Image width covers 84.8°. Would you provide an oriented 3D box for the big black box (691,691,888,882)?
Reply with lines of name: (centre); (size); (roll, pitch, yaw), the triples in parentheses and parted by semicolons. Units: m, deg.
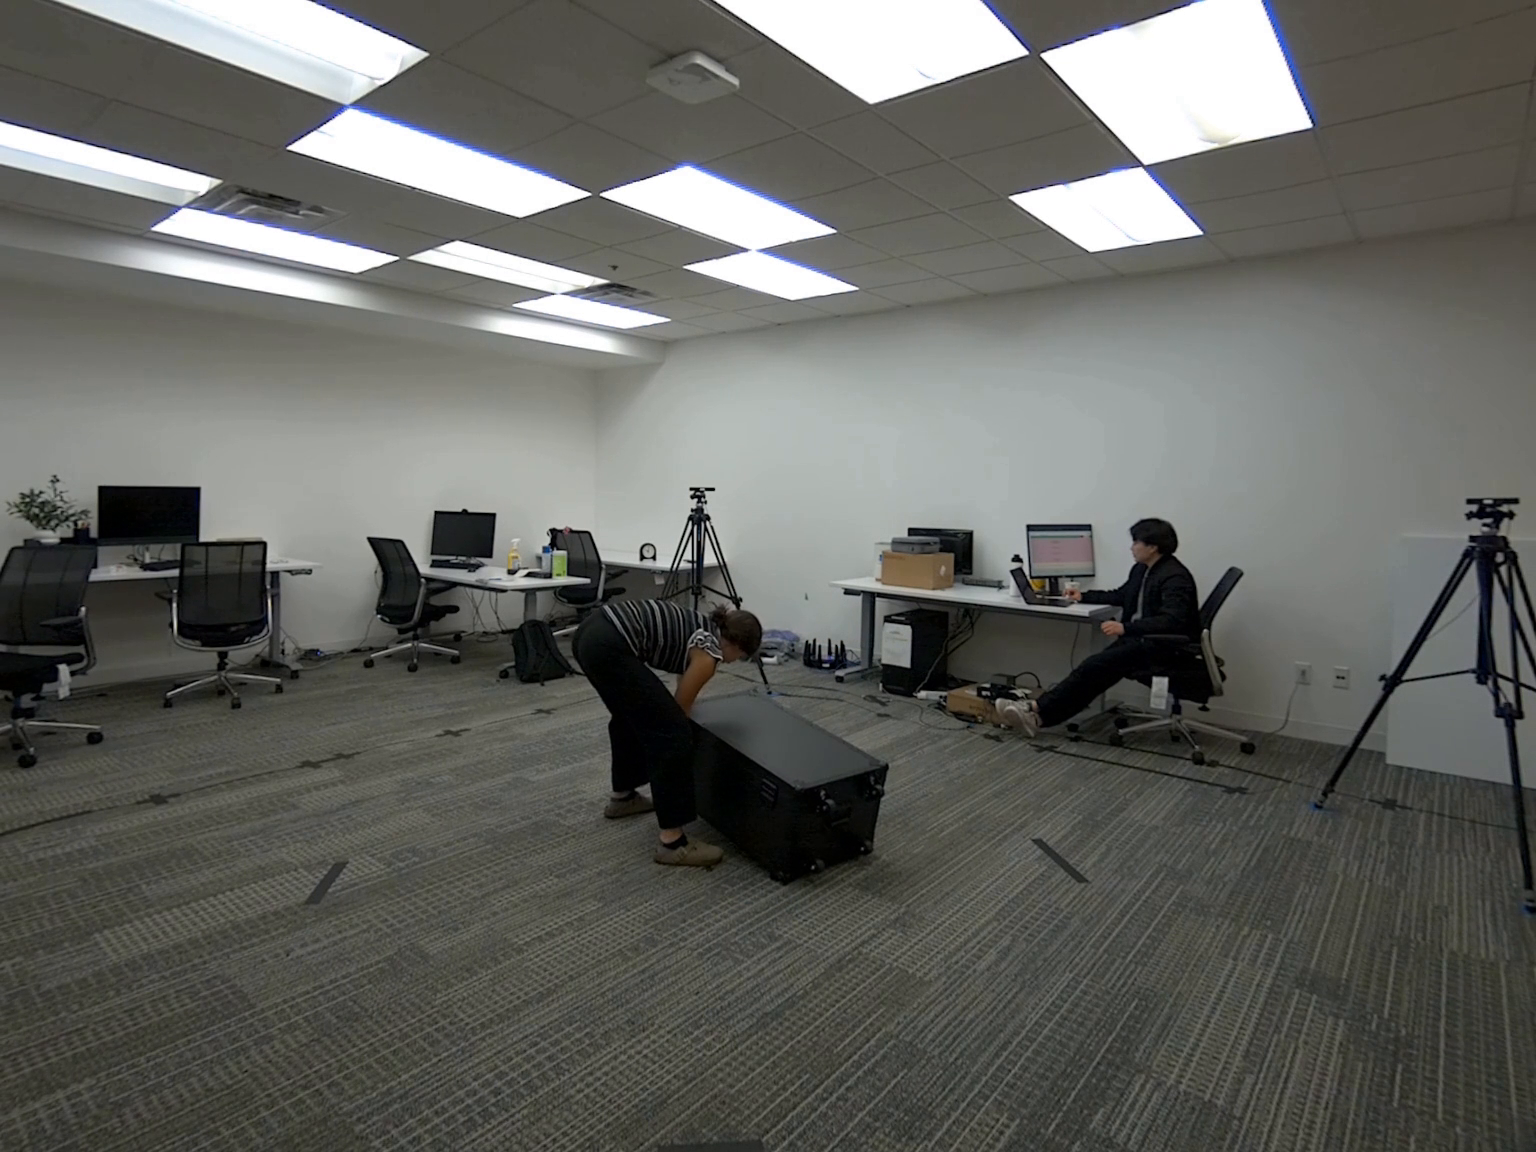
big black box: (0.014, 0.813, 3.362); (0.505, 0.393, 0.896); (-2, 15, -42)
